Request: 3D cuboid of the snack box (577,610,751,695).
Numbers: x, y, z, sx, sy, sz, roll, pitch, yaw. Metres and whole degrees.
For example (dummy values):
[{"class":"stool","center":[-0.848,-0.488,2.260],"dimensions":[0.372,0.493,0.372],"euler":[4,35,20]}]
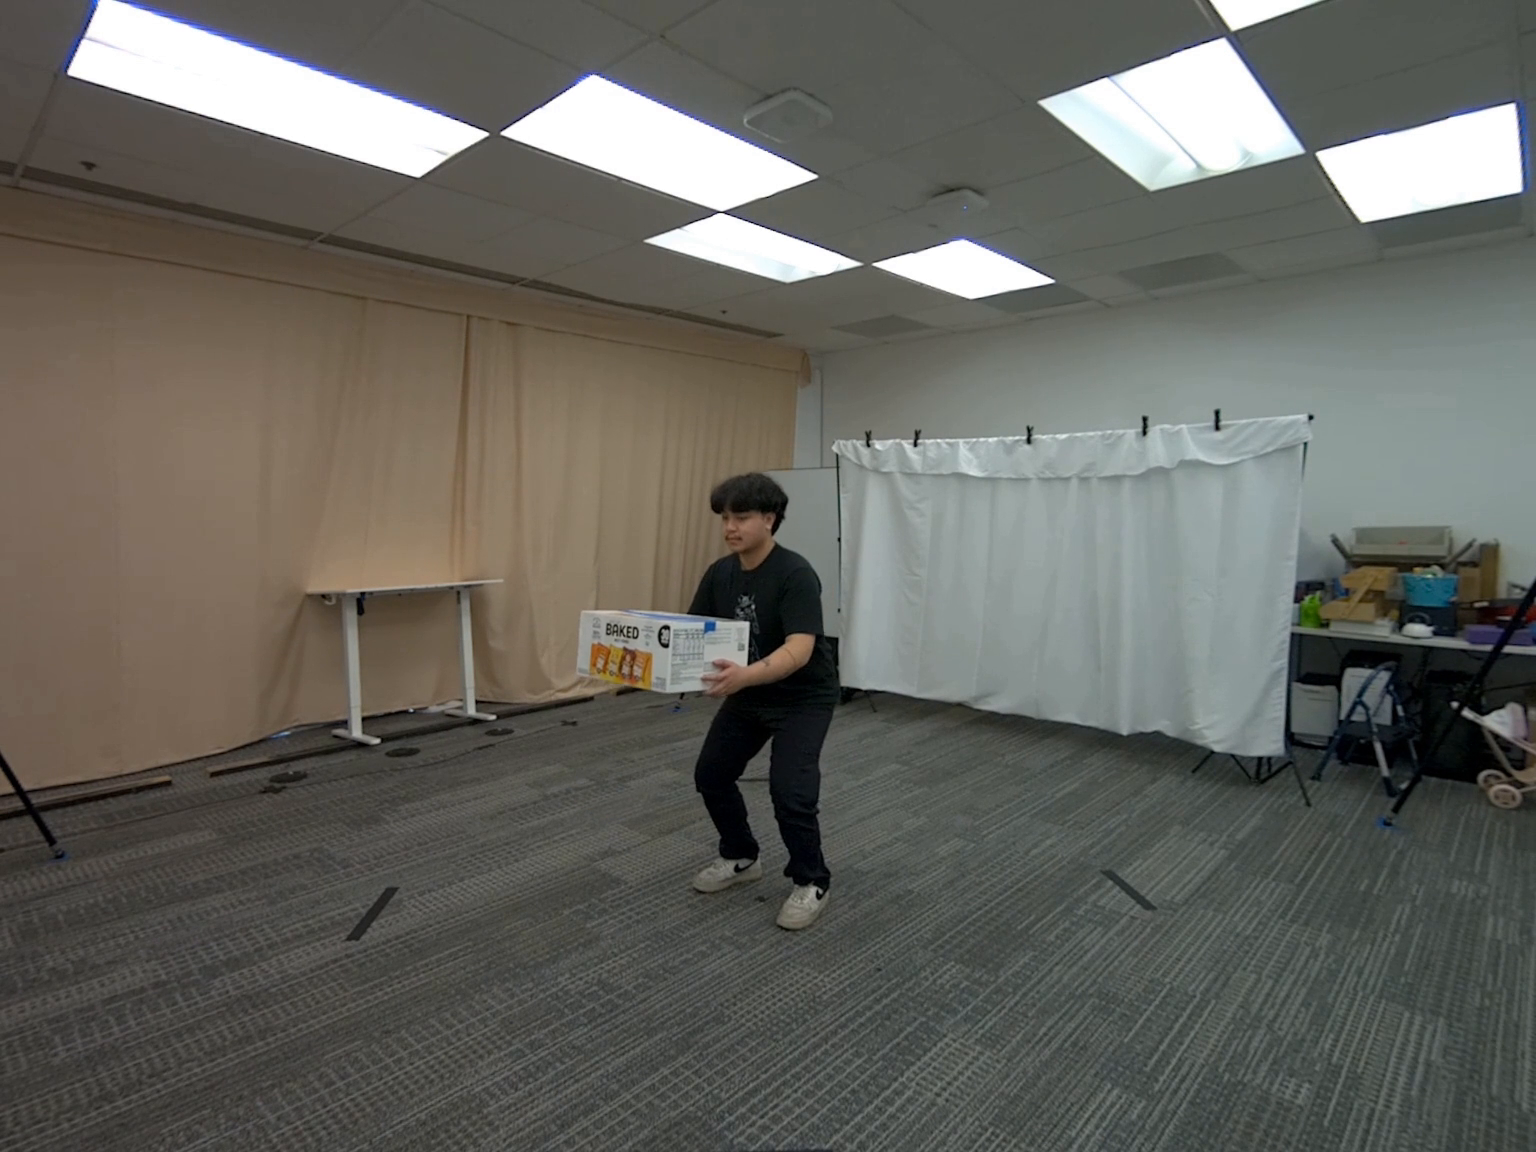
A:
[{"class":"snack box","center":[-0.320,0.227,2.610],"dimensions":[0.419,0.206,0.329],"euler":[4,1,41]}]
